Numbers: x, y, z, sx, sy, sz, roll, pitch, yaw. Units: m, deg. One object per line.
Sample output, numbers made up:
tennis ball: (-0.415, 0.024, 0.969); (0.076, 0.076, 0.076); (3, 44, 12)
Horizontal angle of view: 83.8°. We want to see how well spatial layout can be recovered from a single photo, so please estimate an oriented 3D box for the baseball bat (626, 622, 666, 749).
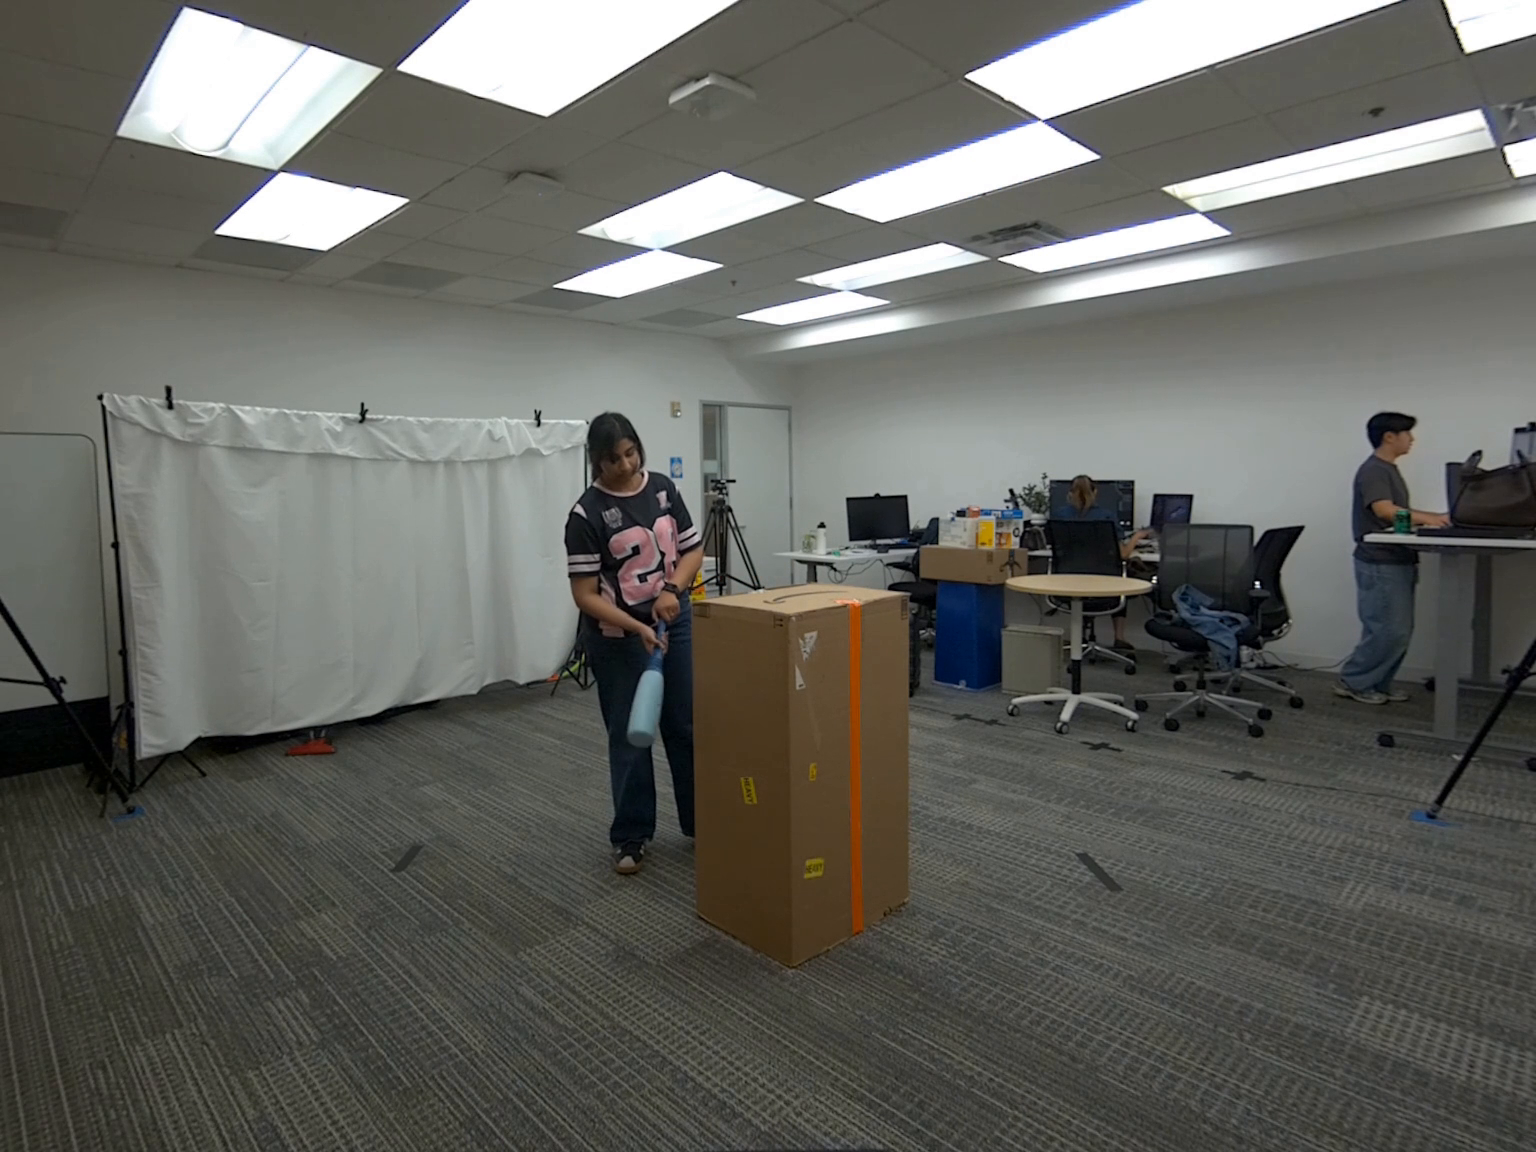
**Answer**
baseball bat: (-0.380, 0.310, 2.763); (0.089, 0.086, 0.556); (-1, 40, 5)
